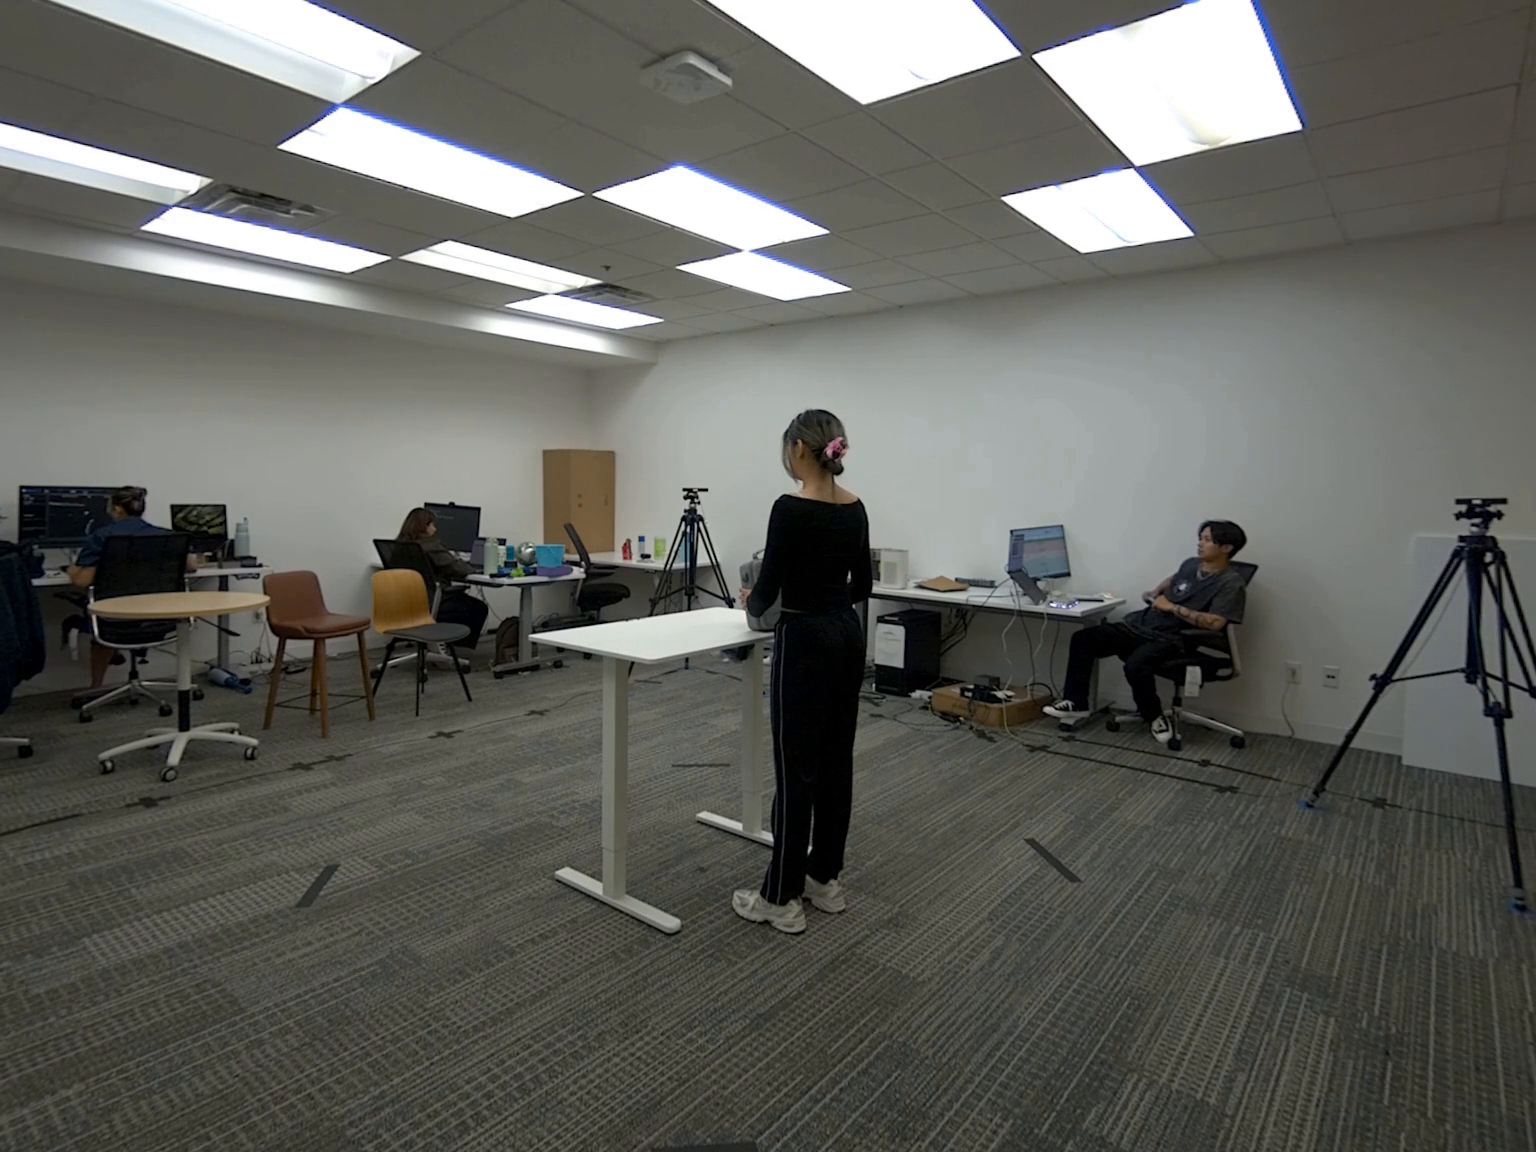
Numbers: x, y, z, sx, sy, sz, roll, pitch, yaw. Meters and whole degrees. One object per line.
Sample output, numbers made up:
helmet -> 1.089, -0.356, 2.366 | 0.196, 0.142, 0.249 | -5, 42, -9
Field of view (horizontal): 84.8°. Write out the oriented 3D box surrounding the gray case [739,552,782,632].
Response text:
gray case -> 0.018, 0.059, 3.113 | 0.249, 0.263, 0.107 | -3, -9, -43
